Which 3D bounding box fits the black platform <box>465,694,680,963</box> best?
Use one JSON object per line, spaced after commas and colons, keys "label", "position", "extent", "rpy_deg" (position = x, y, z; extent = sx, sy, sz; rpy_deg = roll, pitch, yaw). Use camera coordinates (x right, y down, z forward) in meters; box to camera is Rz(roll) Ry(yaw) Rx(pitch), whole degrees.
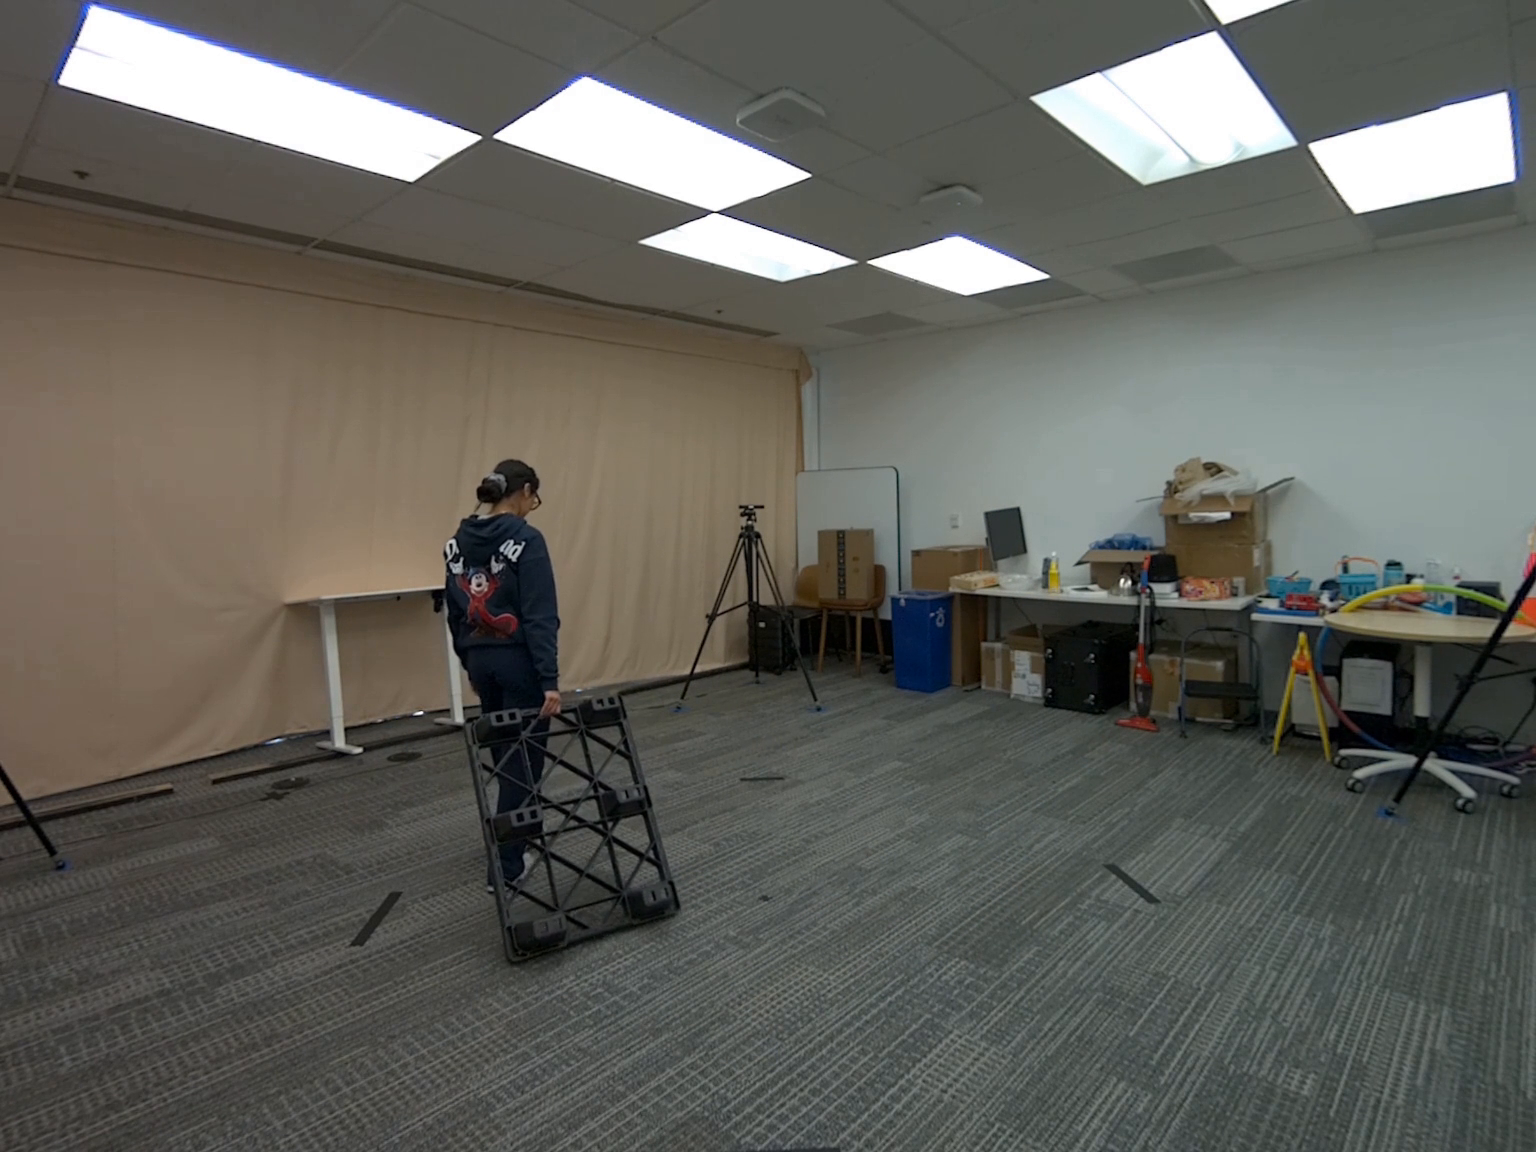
{"label": "black platform", "position": [-0.653, 0.799, 2.871], "extent": [0.588, 0.823, 0.144], "rpy_deg": [-4, -29, -32]}
